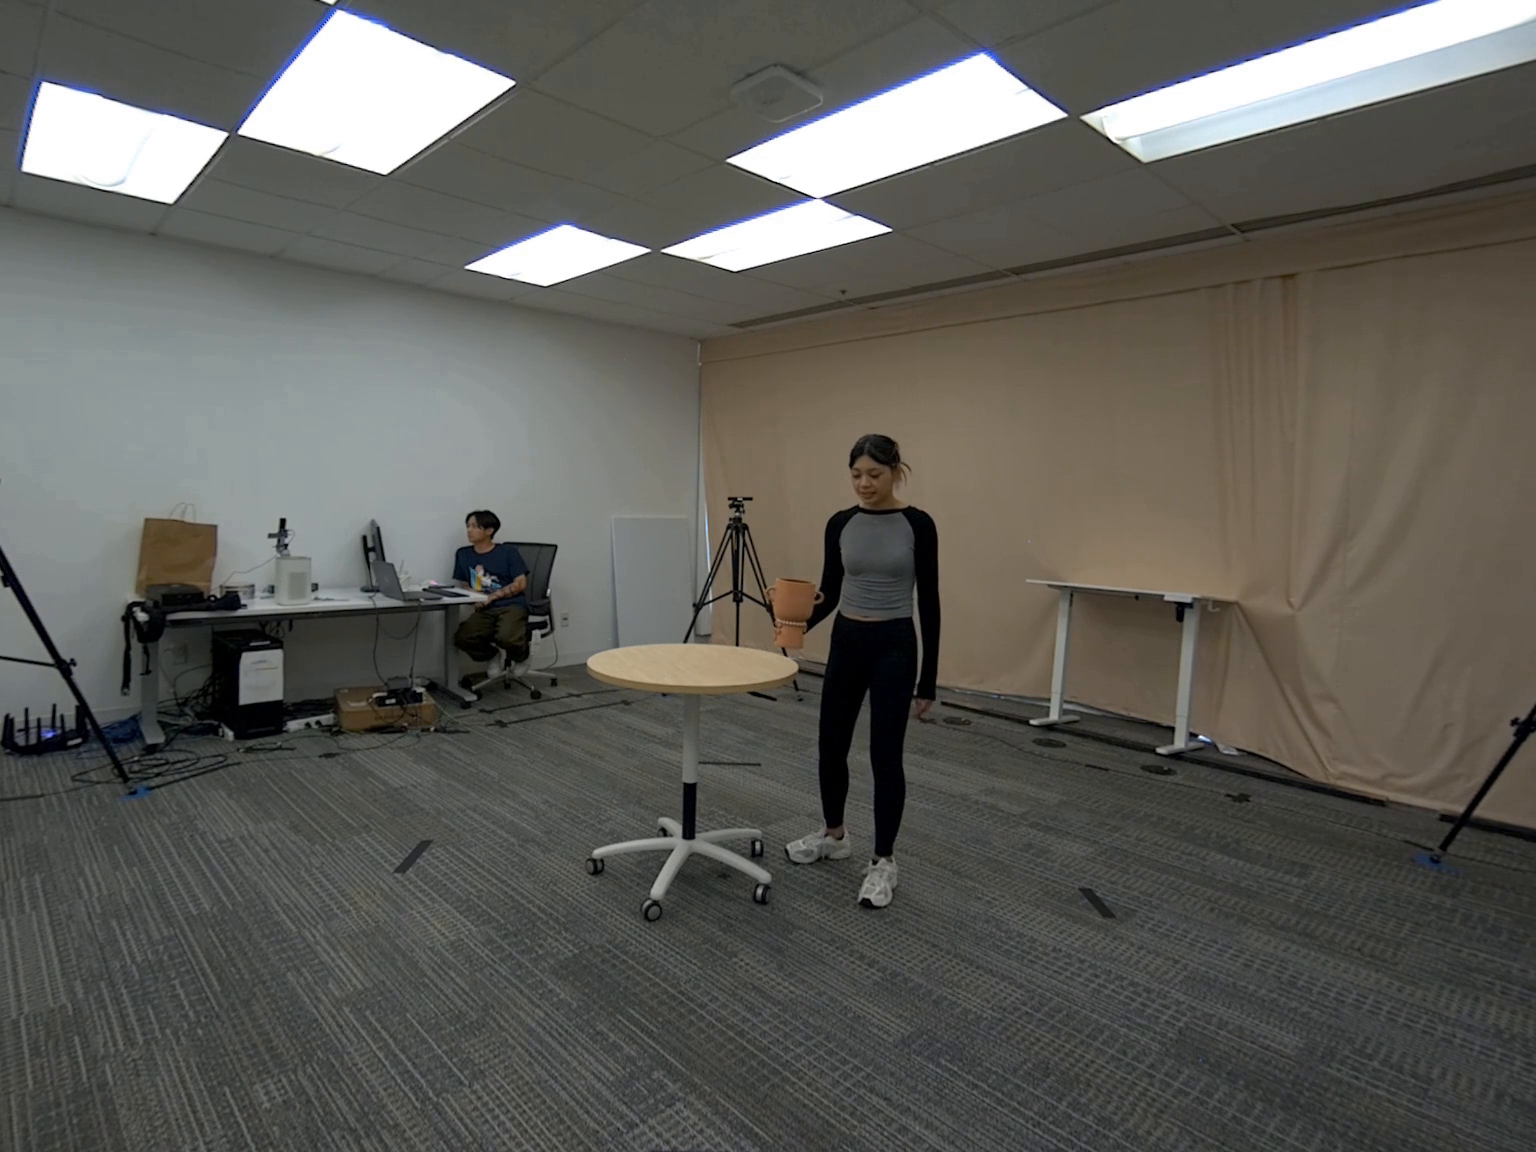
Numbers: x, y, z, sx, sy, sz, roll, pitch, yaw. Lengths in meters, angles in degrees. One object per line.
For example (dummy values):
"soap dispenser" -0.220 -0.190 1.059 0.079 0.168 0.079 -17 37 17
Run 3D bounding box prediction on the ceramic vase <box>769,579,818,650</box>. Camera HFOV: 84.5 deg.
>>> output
"ceramic vase" 0.076 0.125 2.814 0.163 0.219 0.131 9 5 34
